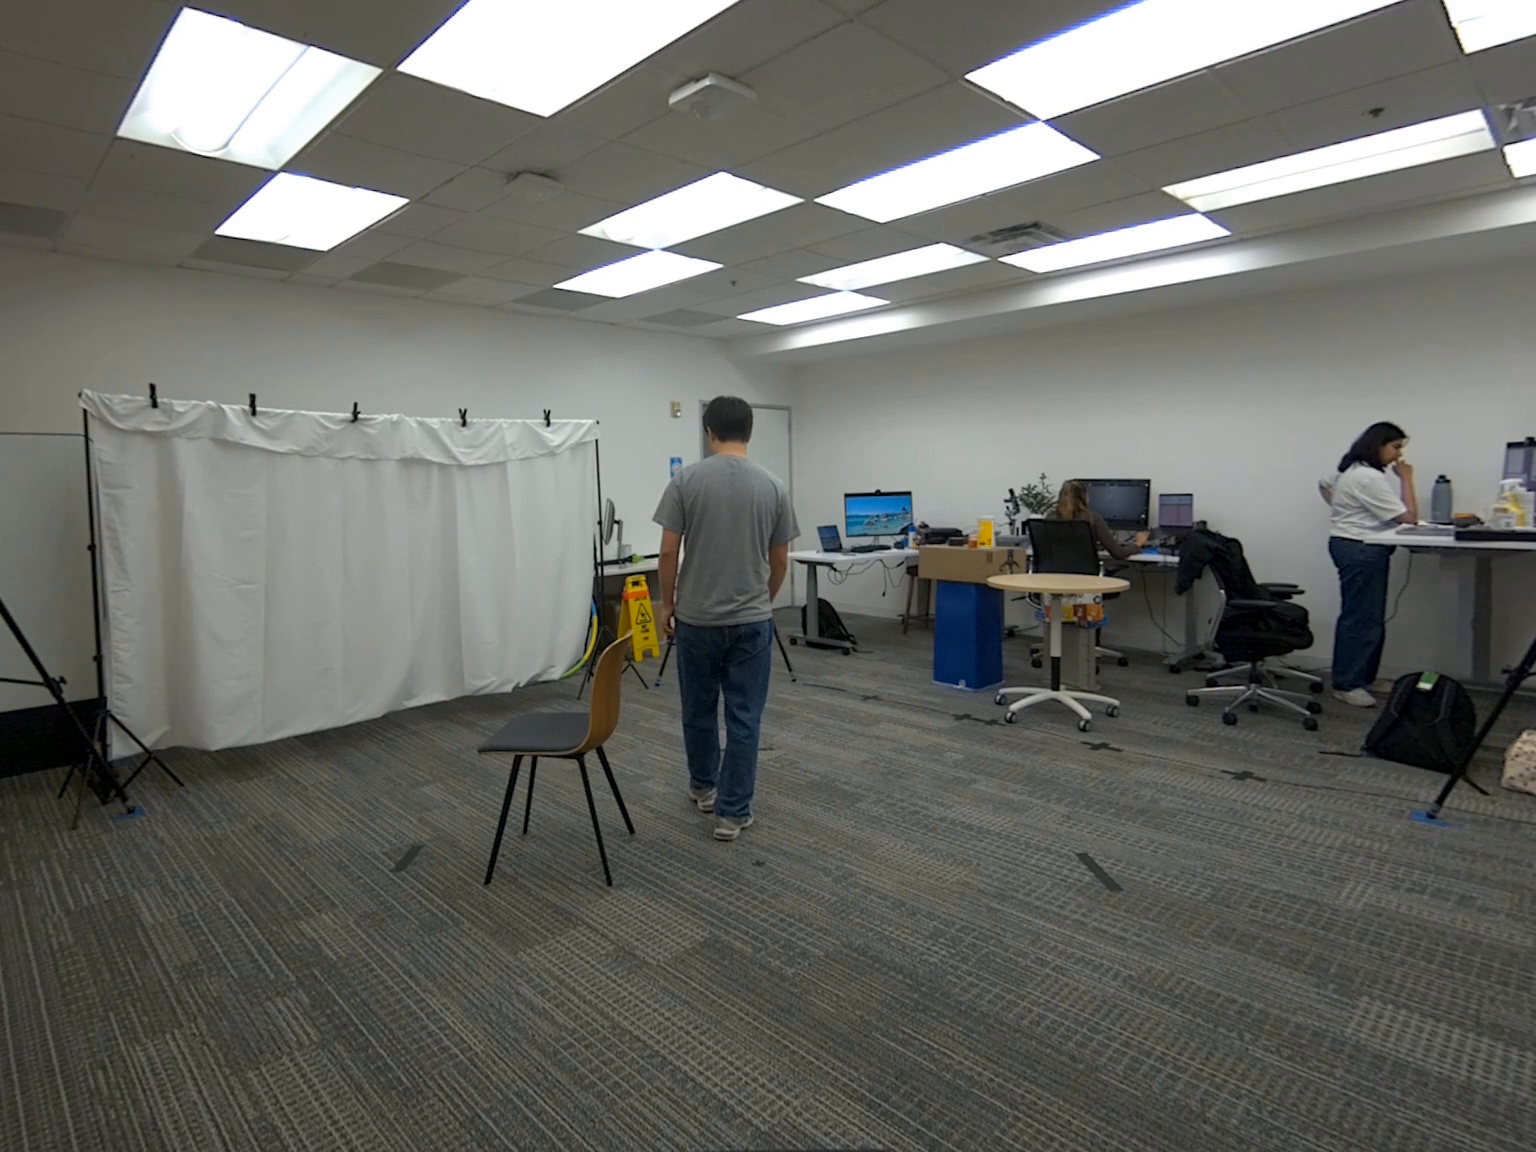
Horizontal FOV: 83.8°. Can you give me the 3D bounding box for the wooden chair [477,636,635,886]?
[{"bbox_3d":[-0.777,0.633,3.147,0.525,0.874,0.479,2,4,2],"label":"wooden chair"}]
